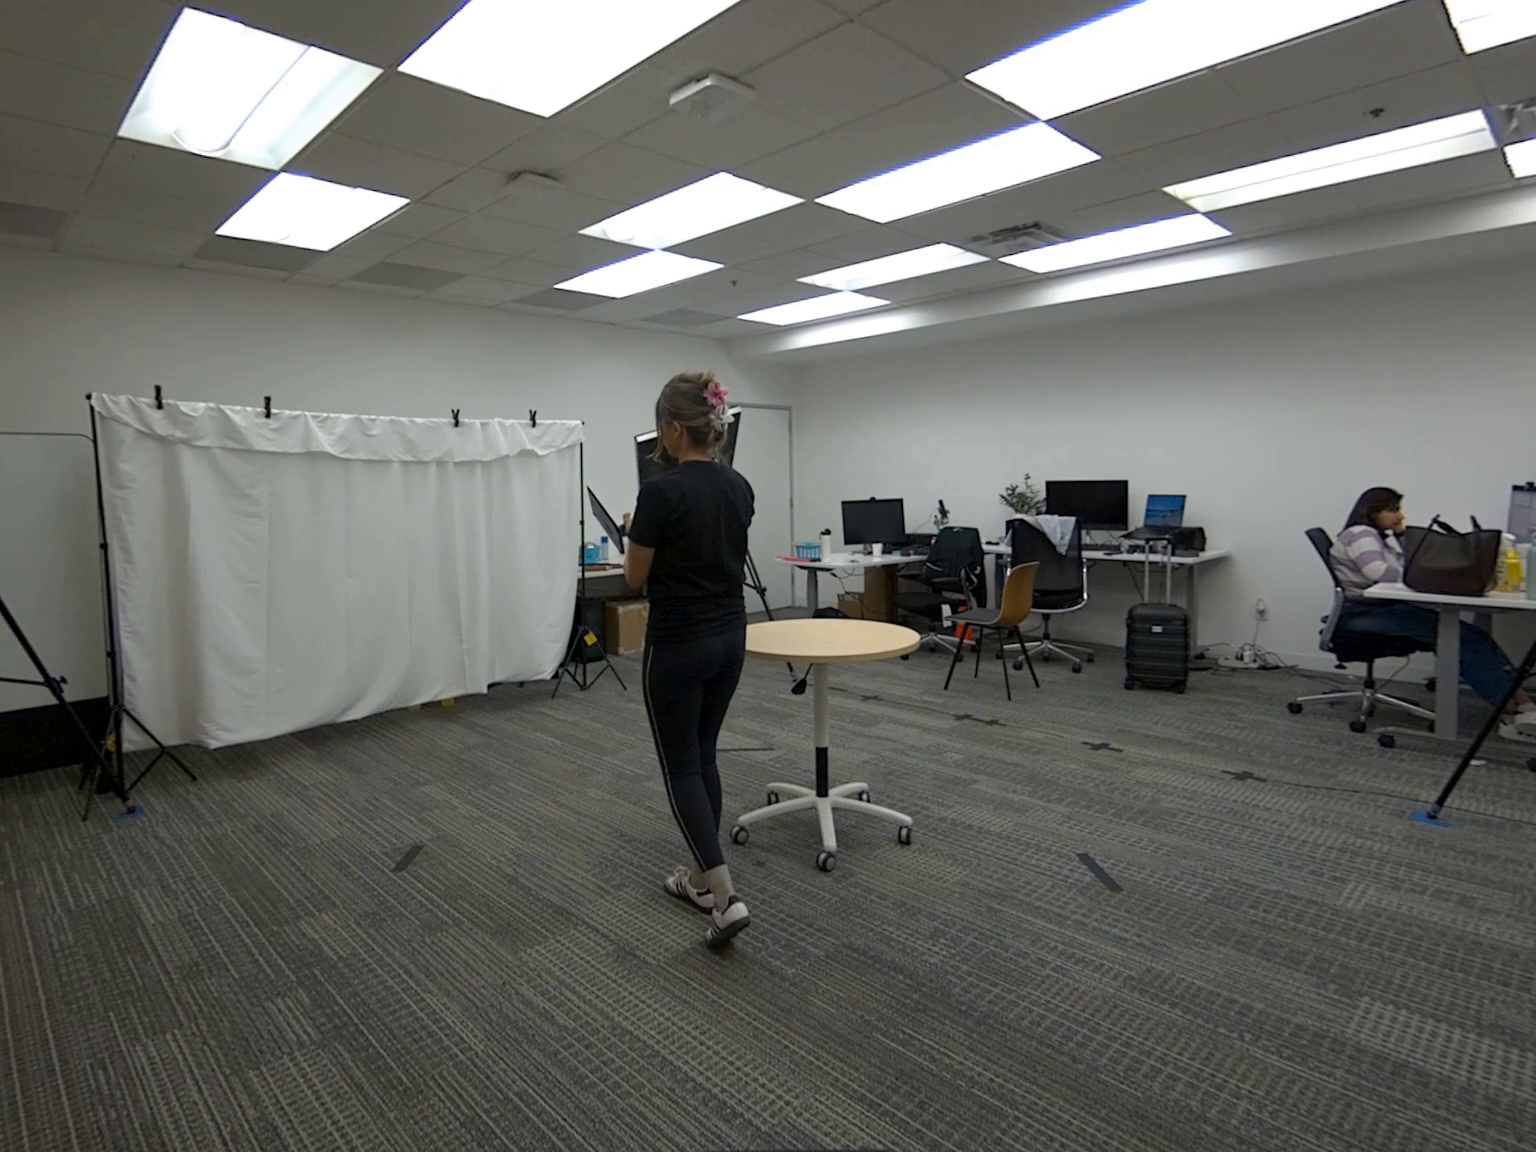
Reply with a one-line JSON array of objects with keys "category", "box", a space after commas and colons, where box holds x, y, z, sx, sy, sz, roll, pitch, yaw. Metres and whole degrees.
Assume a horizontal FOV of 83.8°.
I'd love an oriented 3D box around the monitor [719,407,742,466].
[{"category": "monitor", "box": [-0.339, -0.331, 3.000, 0.520, 0.190, 0.533, -32, -10, -14]}]
